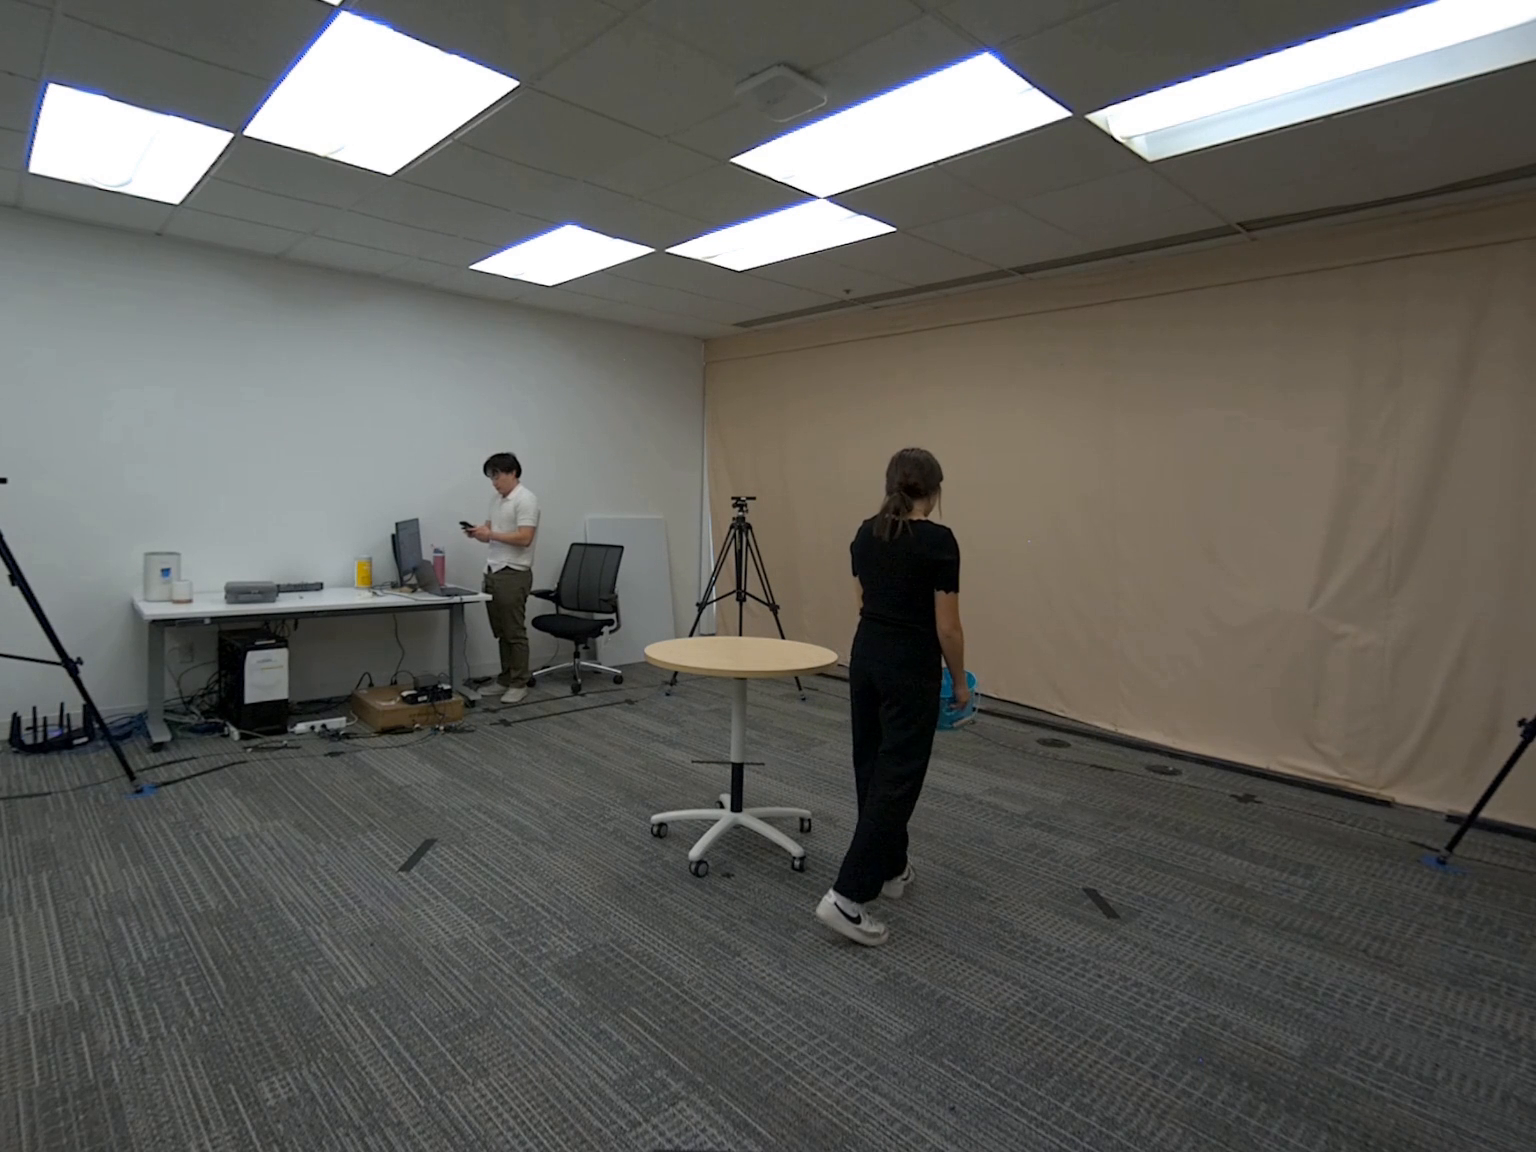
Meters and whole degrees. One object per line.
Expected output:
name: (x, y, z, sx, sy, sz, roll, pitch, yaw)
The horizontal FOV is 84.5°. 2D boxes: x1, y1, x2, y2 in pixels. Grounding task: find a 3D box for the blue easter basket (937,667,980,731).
blue easter basket: (0.623, 0.451, 3.030, 0.244, 0.154, 0.247, -6, 17, 0)
